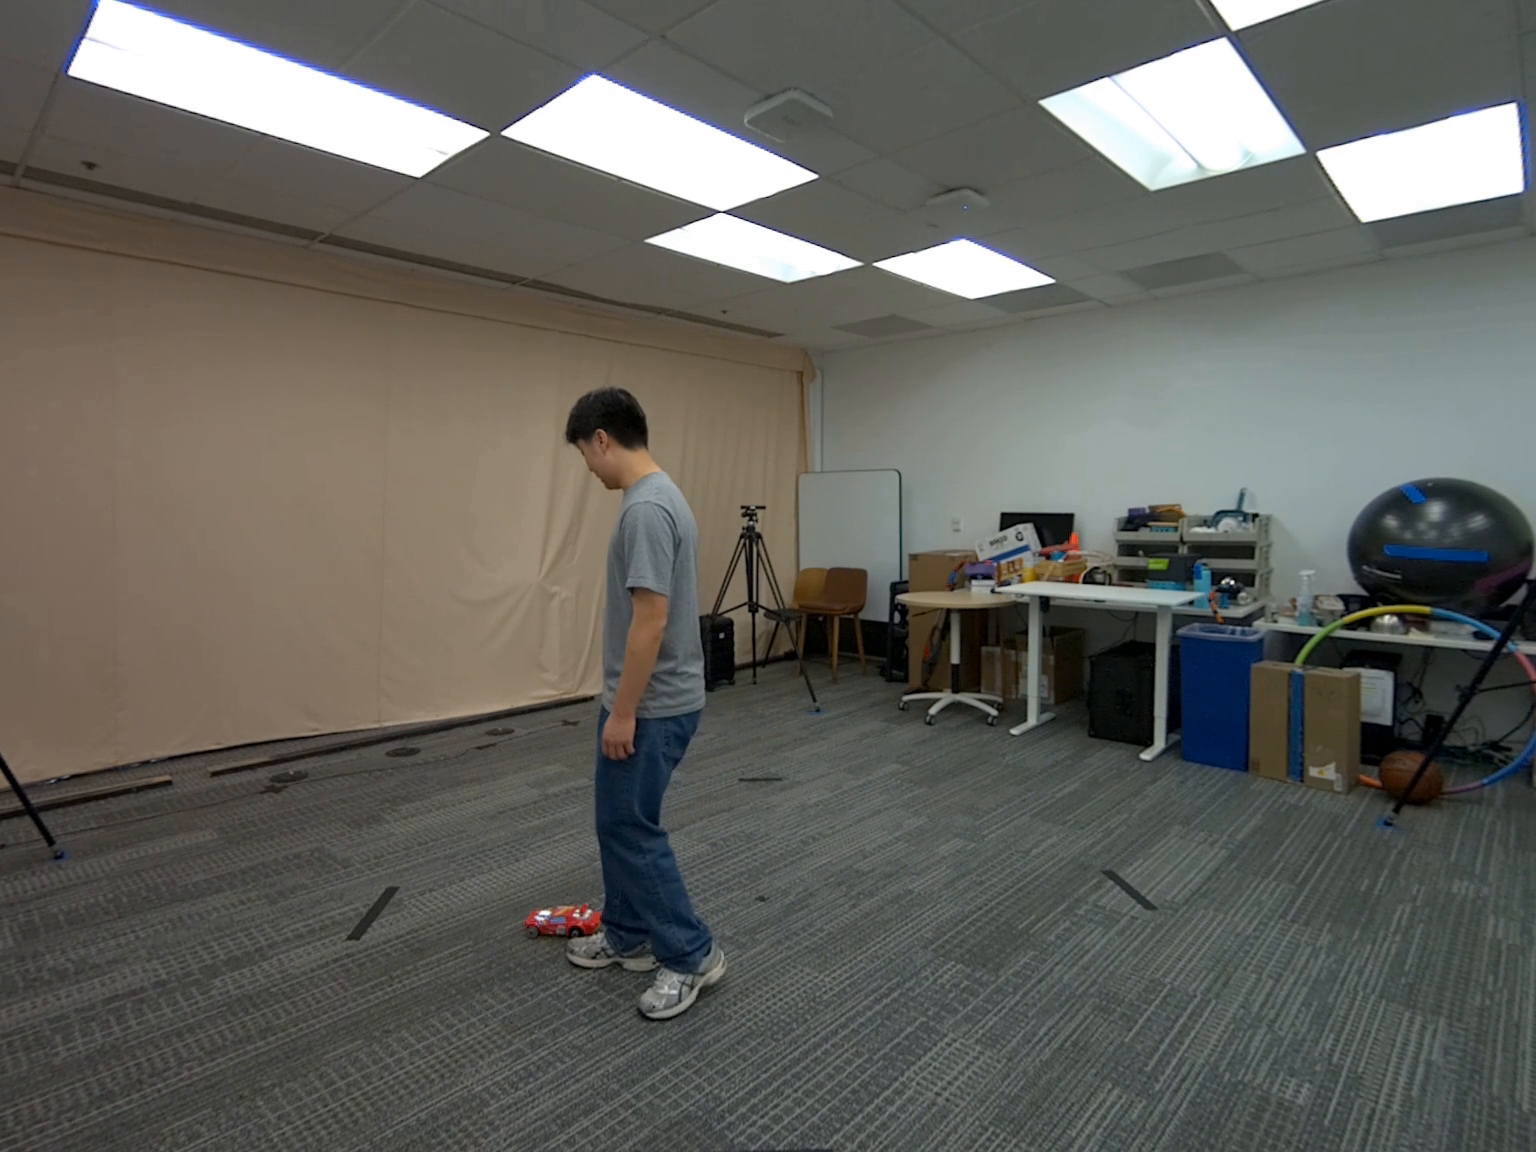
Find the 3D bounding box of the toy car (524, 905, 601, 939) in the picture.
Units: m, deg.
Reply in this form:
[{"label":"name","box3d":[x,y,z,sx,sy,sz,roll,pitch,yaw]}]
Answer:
[{"label":"toy car","box3d":[-0.664,1.137,2.752,0.256,0.083,0.129,-11,2,7]}]
